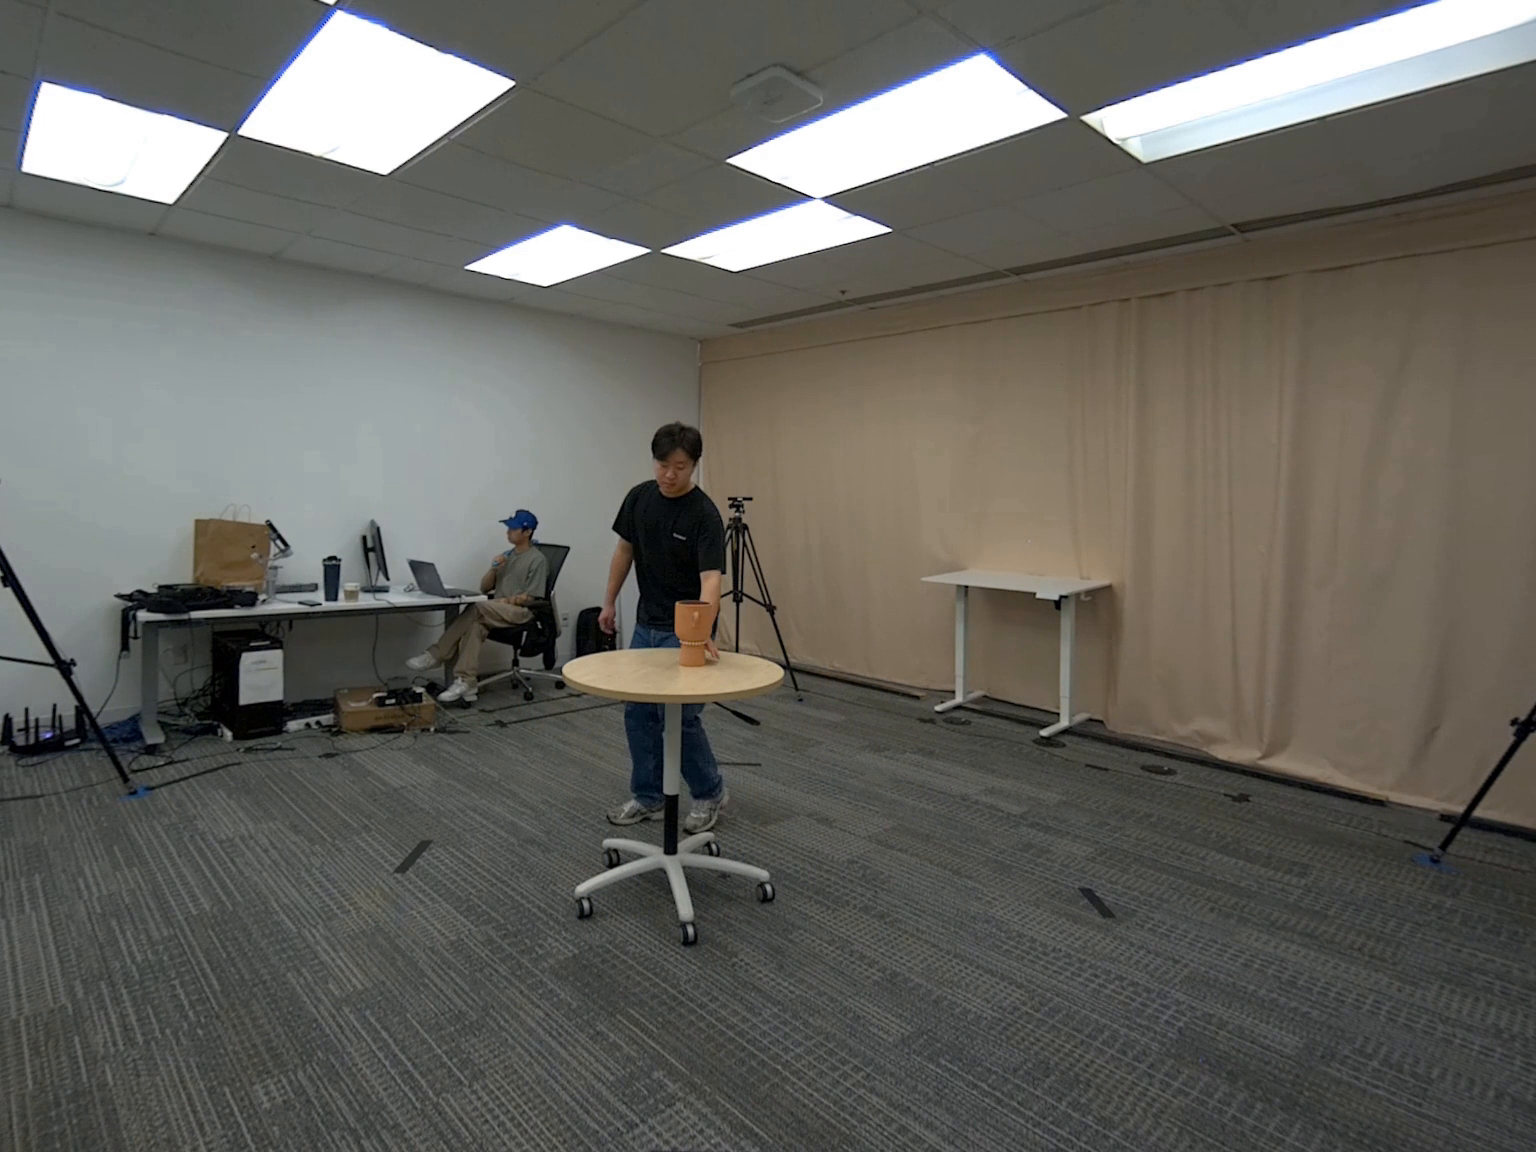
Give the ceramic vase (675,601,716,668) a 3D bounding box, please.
[{"bbox_3d":[-0.278,0.207,3.001,0.137,0.219,0.156,5,3,28],"label":"ceramic vase"}]
